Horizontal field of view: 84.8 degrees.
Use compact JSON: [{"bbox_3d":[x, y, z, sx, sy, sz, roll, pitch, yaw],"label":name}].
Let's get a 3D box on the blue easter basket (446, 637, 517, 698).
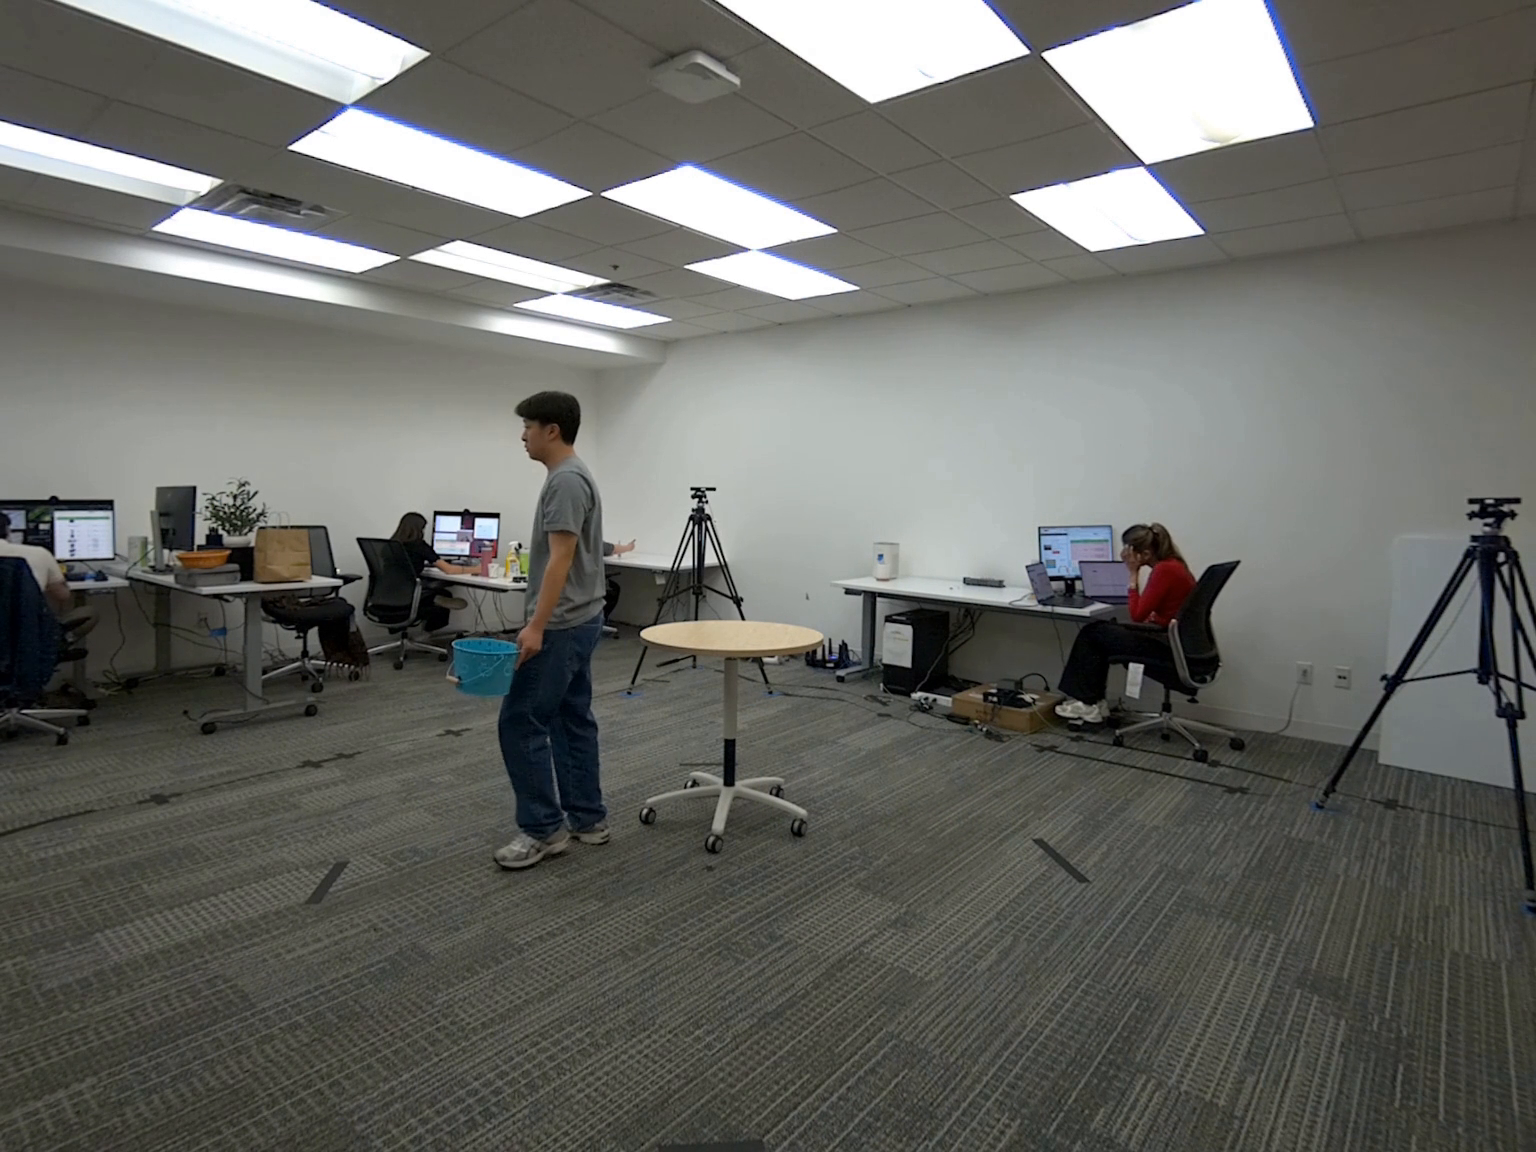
[{"bbox_3d":[-0.989,0.314,2.890,0.243,0.155,0.244,7,3,-2],"label":"blue easter basket"}]
